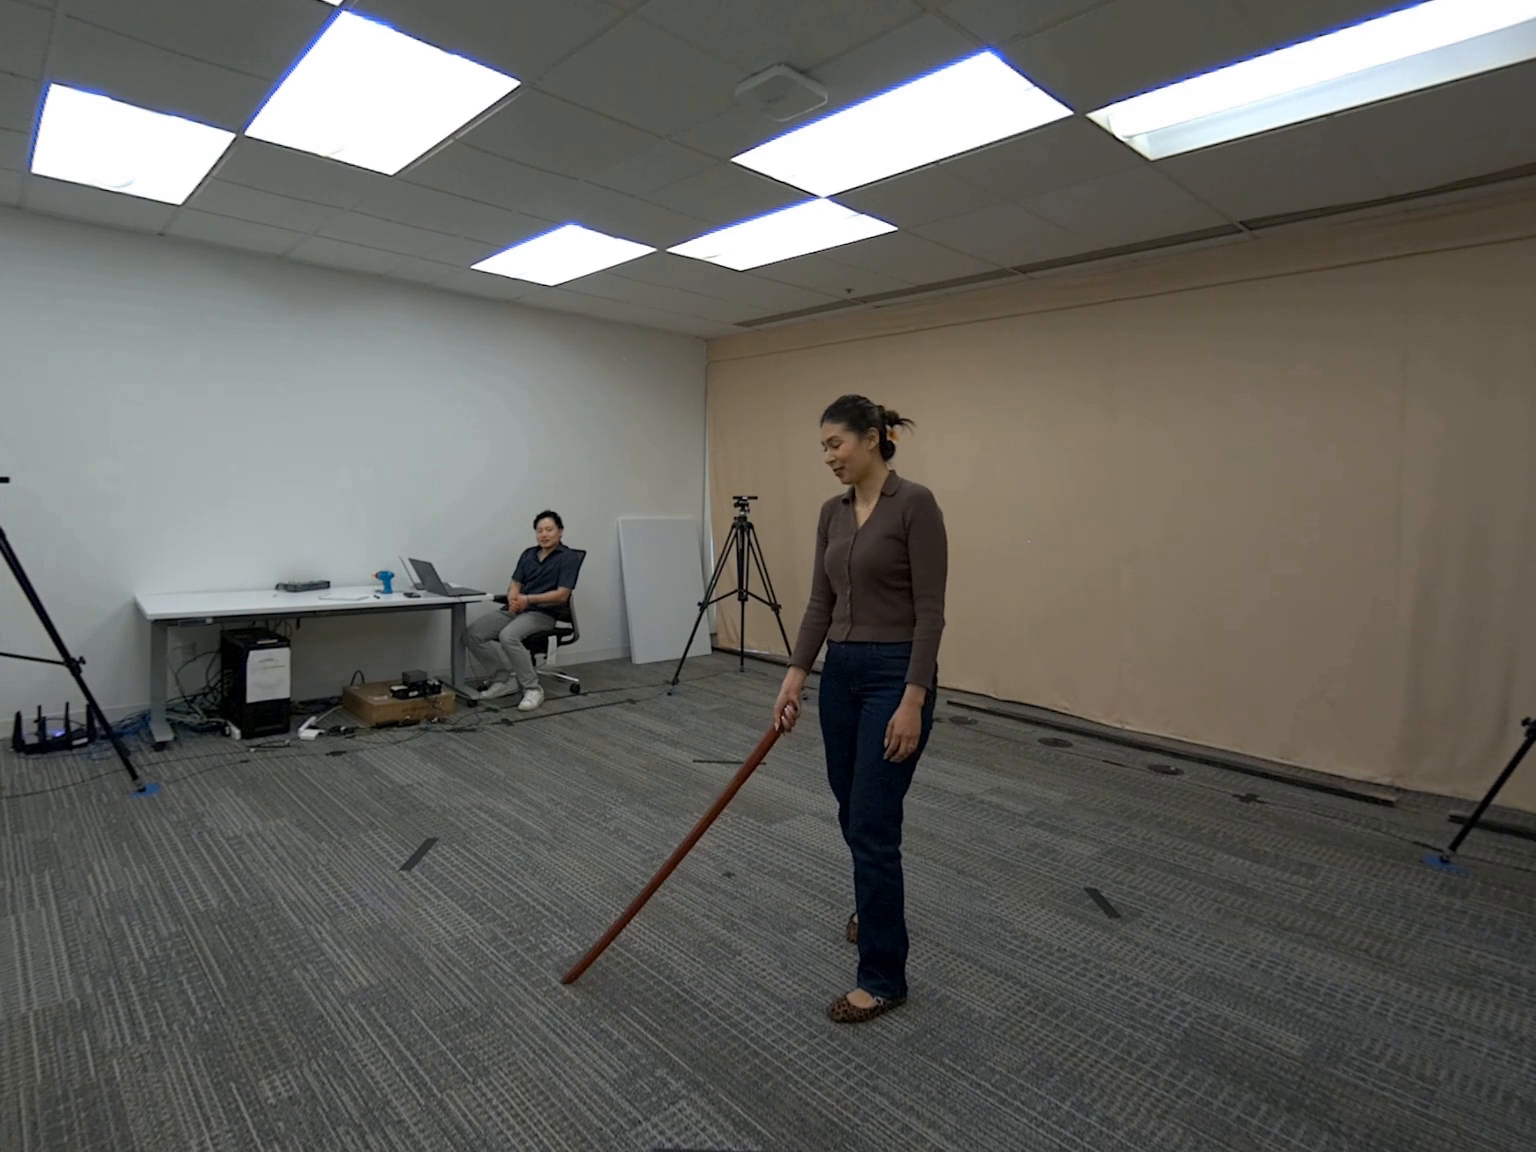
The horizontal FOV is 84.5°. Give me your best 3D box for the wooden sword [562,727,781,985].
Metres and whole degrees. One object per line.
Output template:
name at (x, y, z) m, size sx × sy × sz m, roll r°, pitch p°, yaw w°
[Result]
wooden sword at (-0.249, 0.782, 2.389) m, size 0.023 × 1.025 × 0.053 m, roll 42°, pitch -3°, yaw -32°
